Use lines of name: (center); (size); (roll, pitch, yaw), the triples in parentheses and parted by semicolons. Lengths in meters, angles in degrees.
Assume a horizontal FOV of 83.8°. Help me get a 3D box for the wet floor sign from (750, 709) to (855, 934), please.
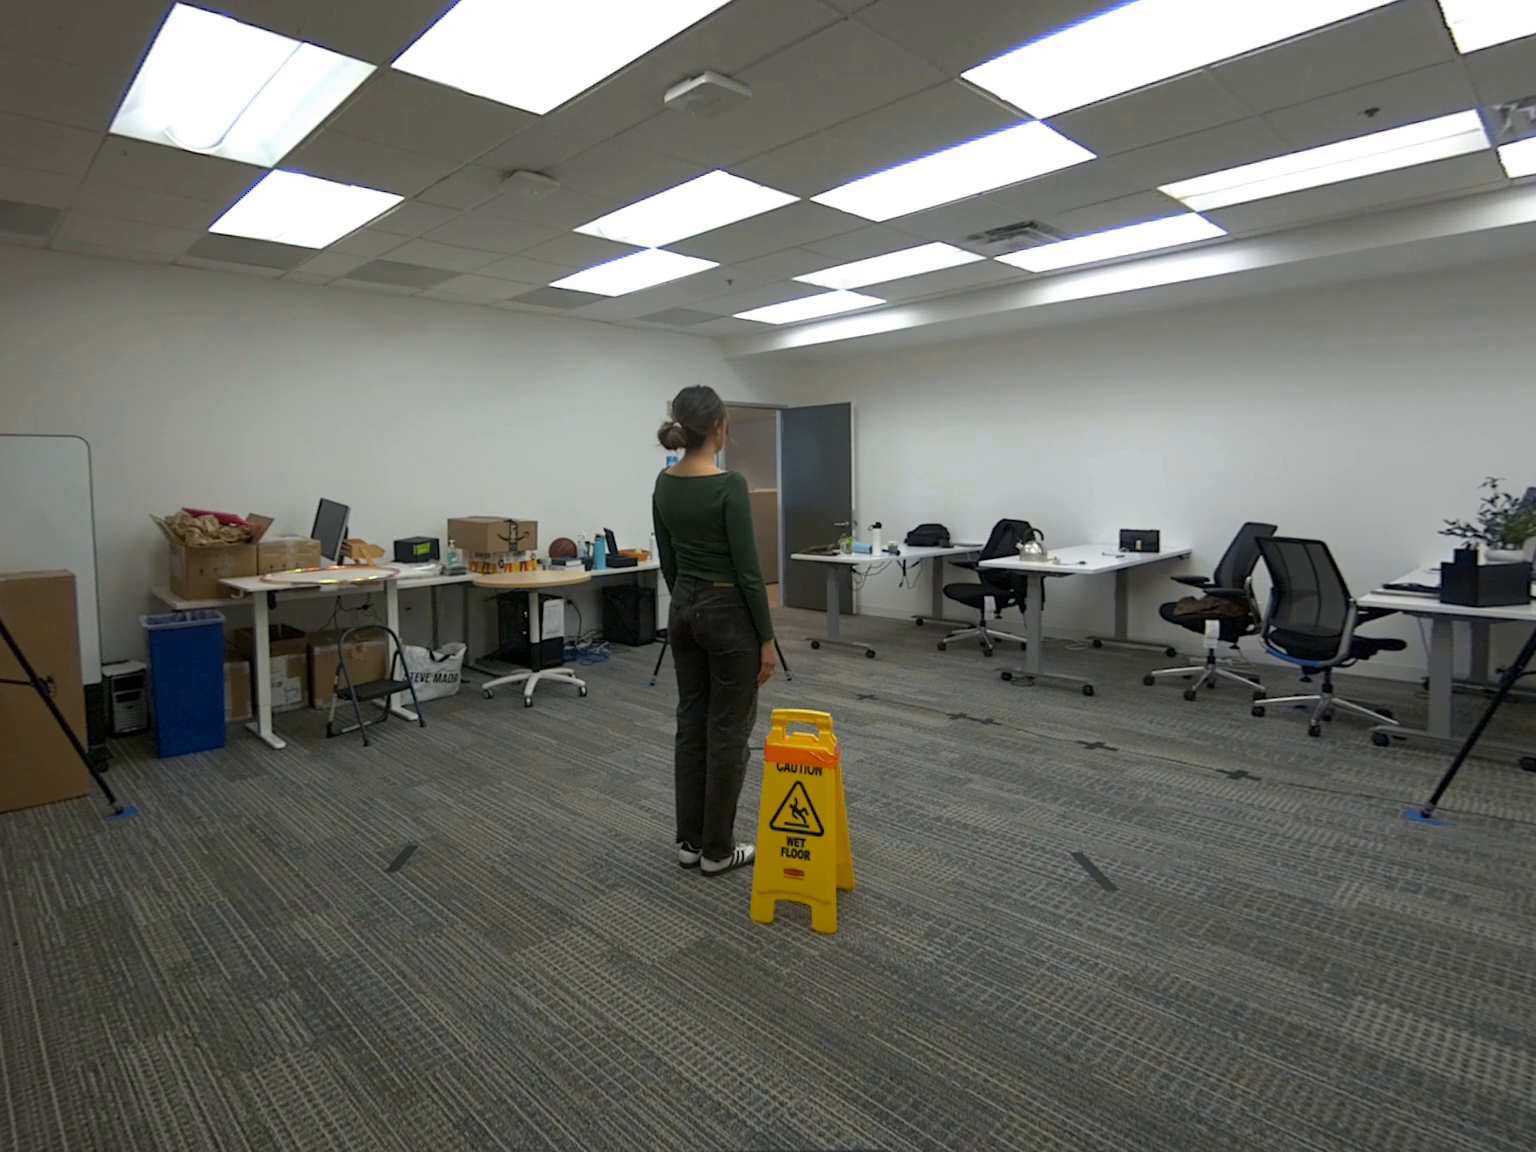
wet floor sign: (0.120, 0.757, 2.782); (0.287, 0.644, 0.285); (1, 4, 19)
